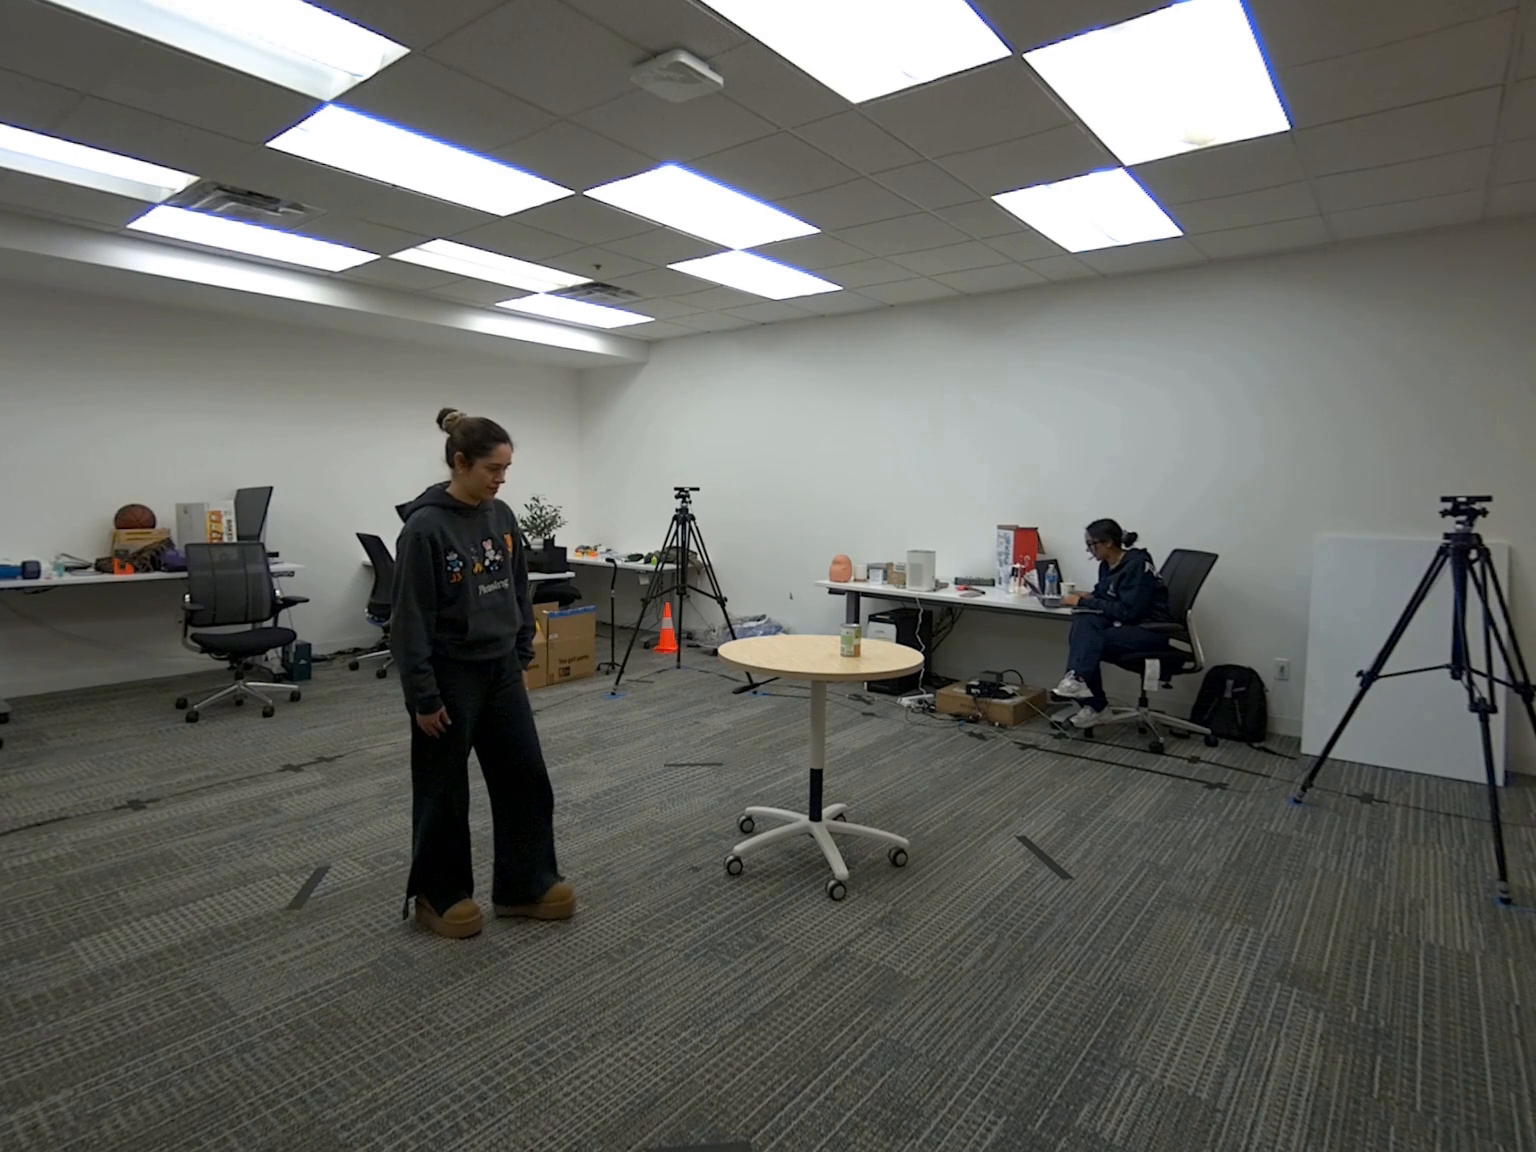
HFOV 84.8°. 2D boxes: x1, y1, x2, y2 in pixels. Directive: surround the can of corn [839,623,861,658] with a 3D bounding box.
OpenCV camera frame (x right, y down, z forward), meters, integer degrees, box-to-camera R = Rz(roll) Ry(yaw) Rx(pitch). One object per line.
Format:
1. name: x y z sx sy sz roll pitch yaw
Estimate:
1. can of corn: 0.306 0.236 3.131 0.074 0.110 0.075 1 7 -2
